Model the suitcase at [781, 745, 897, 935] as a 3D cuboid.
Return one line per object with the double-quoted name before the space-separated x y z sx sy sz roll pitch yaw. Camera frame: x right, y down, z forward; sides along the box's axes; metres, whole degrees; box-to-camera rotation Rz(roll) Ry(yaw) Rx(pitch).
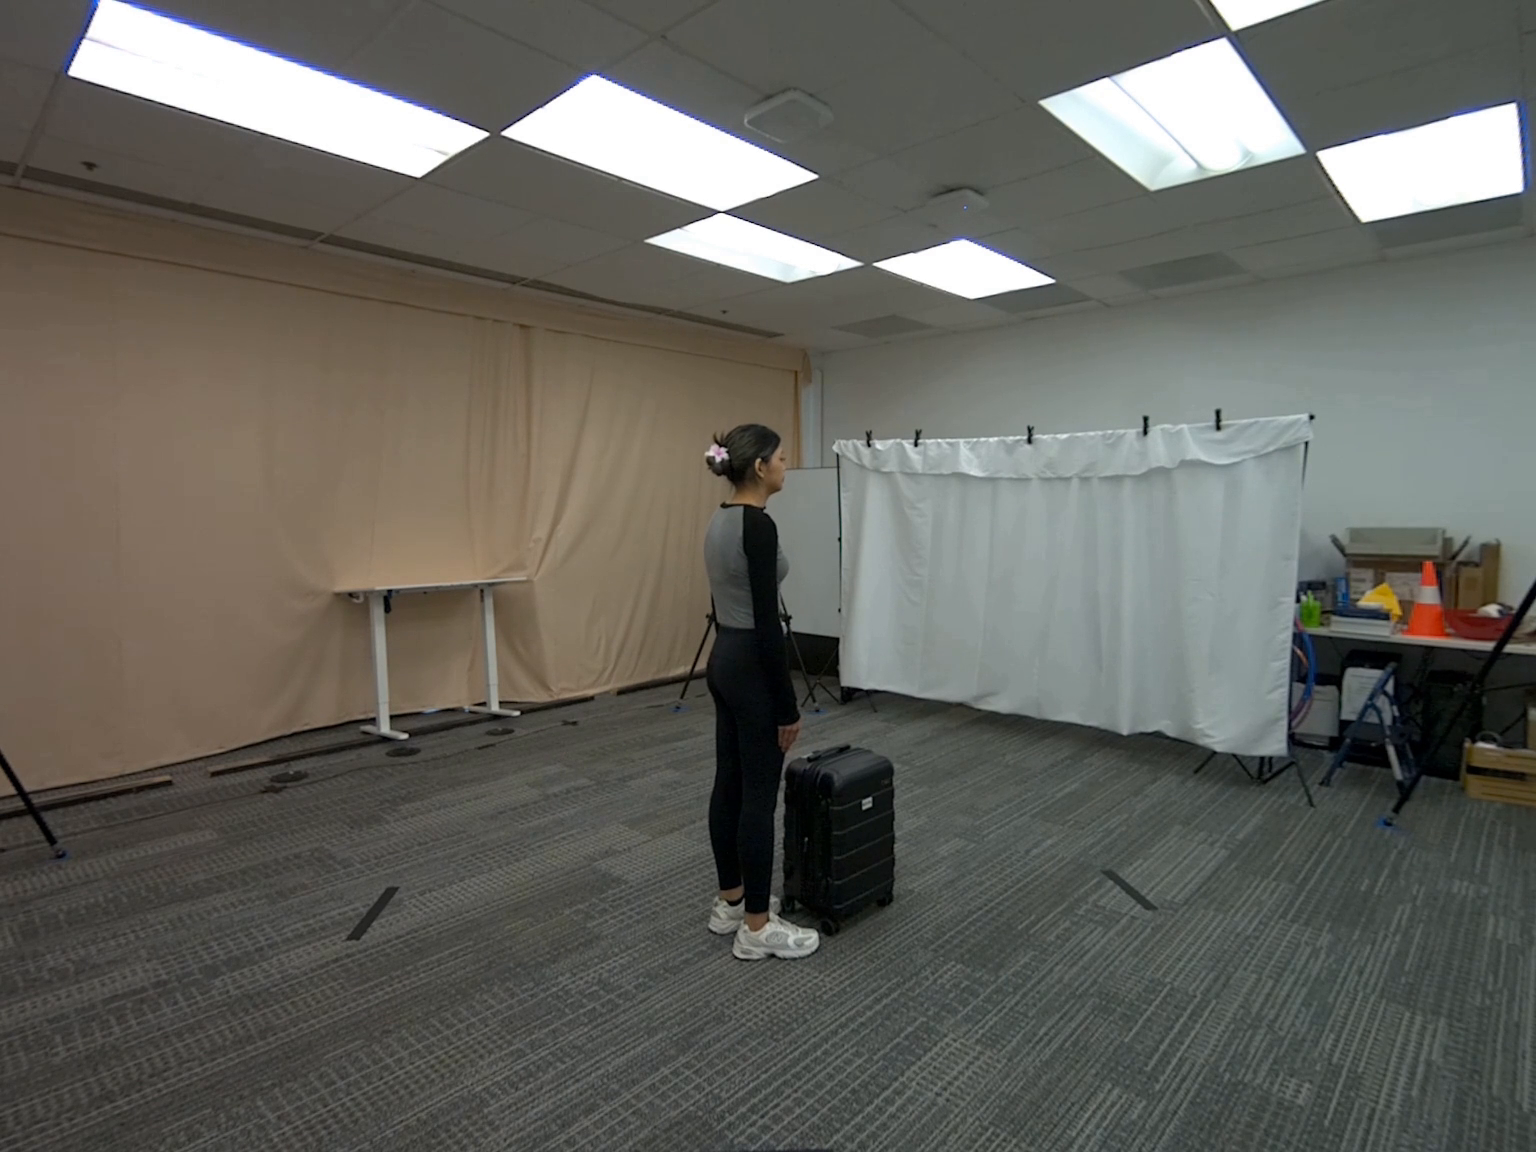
"suitcase" 0.255 0.875 2.890 0.257 0.548 0.364 5 7 44
